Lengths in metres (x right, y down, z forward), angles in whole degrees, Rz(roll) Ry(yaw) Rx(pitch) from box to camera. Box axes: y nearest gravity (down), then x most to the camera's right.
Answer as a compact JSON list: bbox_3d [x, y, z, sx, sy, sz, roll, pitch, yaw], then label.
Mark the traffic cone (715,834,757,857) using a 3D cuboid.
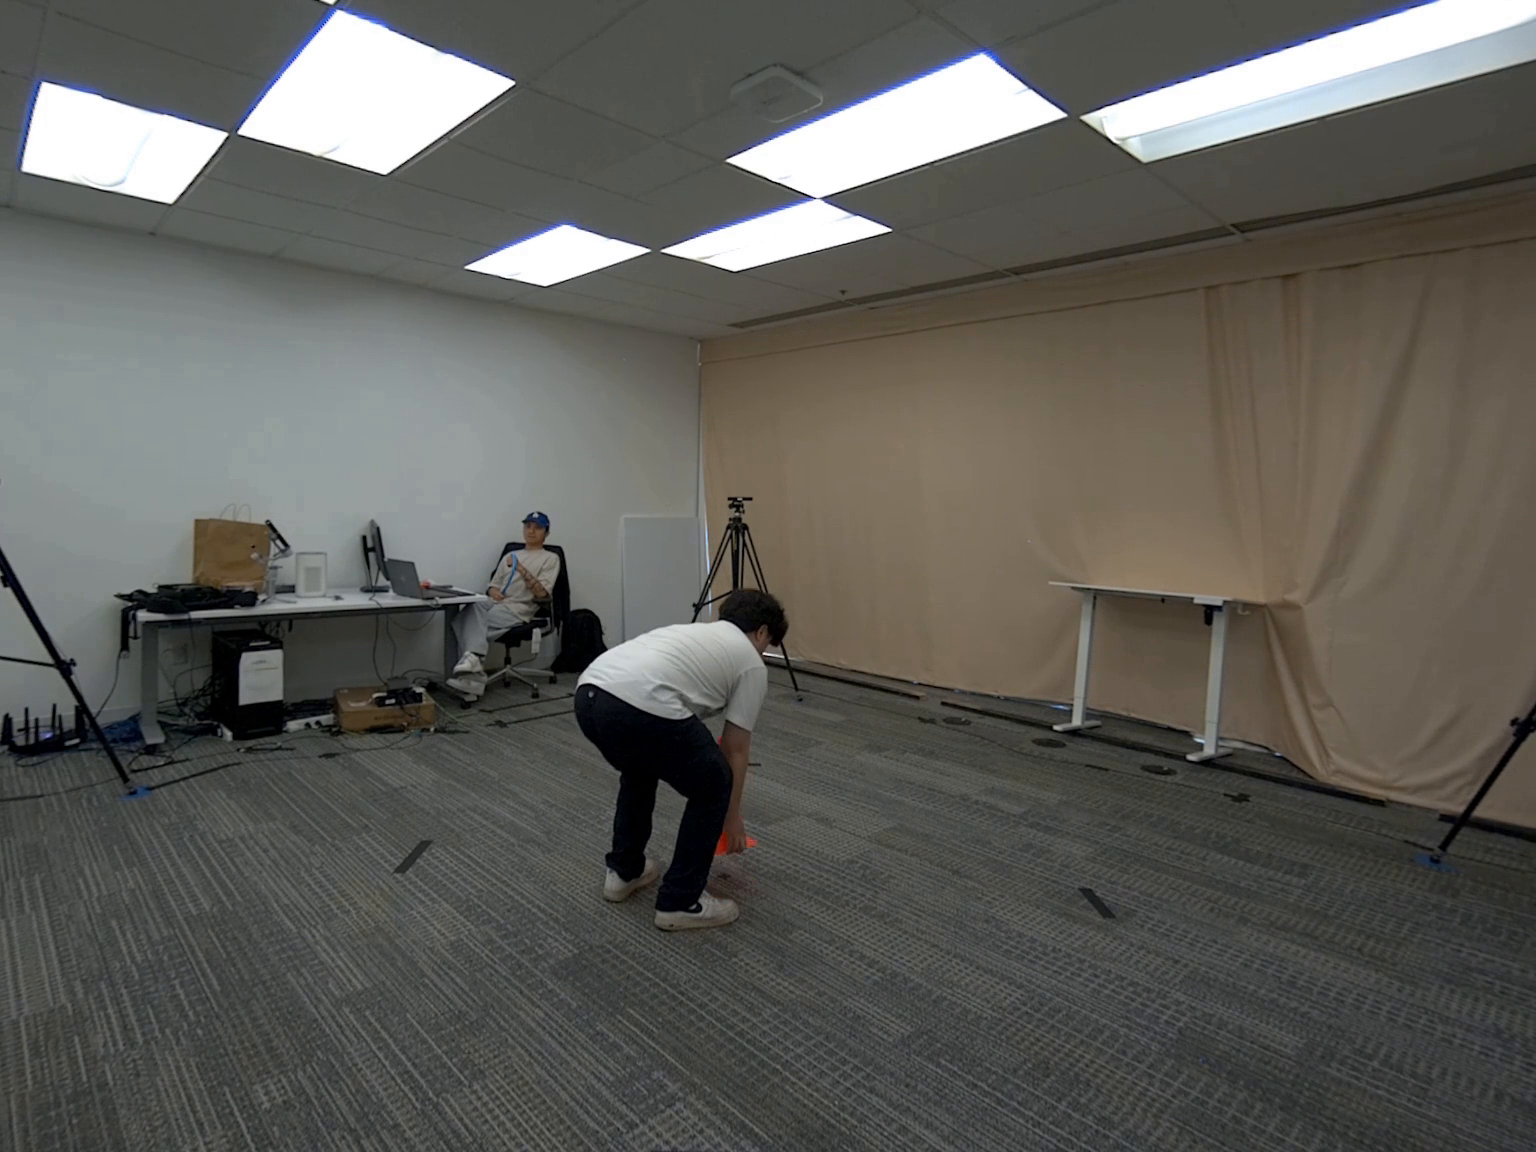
[{"bbox_3d":[-0.179,0.782,3.059,0.199,0.383,0.209,3,2,-28],"label":"traffic cone"}]
